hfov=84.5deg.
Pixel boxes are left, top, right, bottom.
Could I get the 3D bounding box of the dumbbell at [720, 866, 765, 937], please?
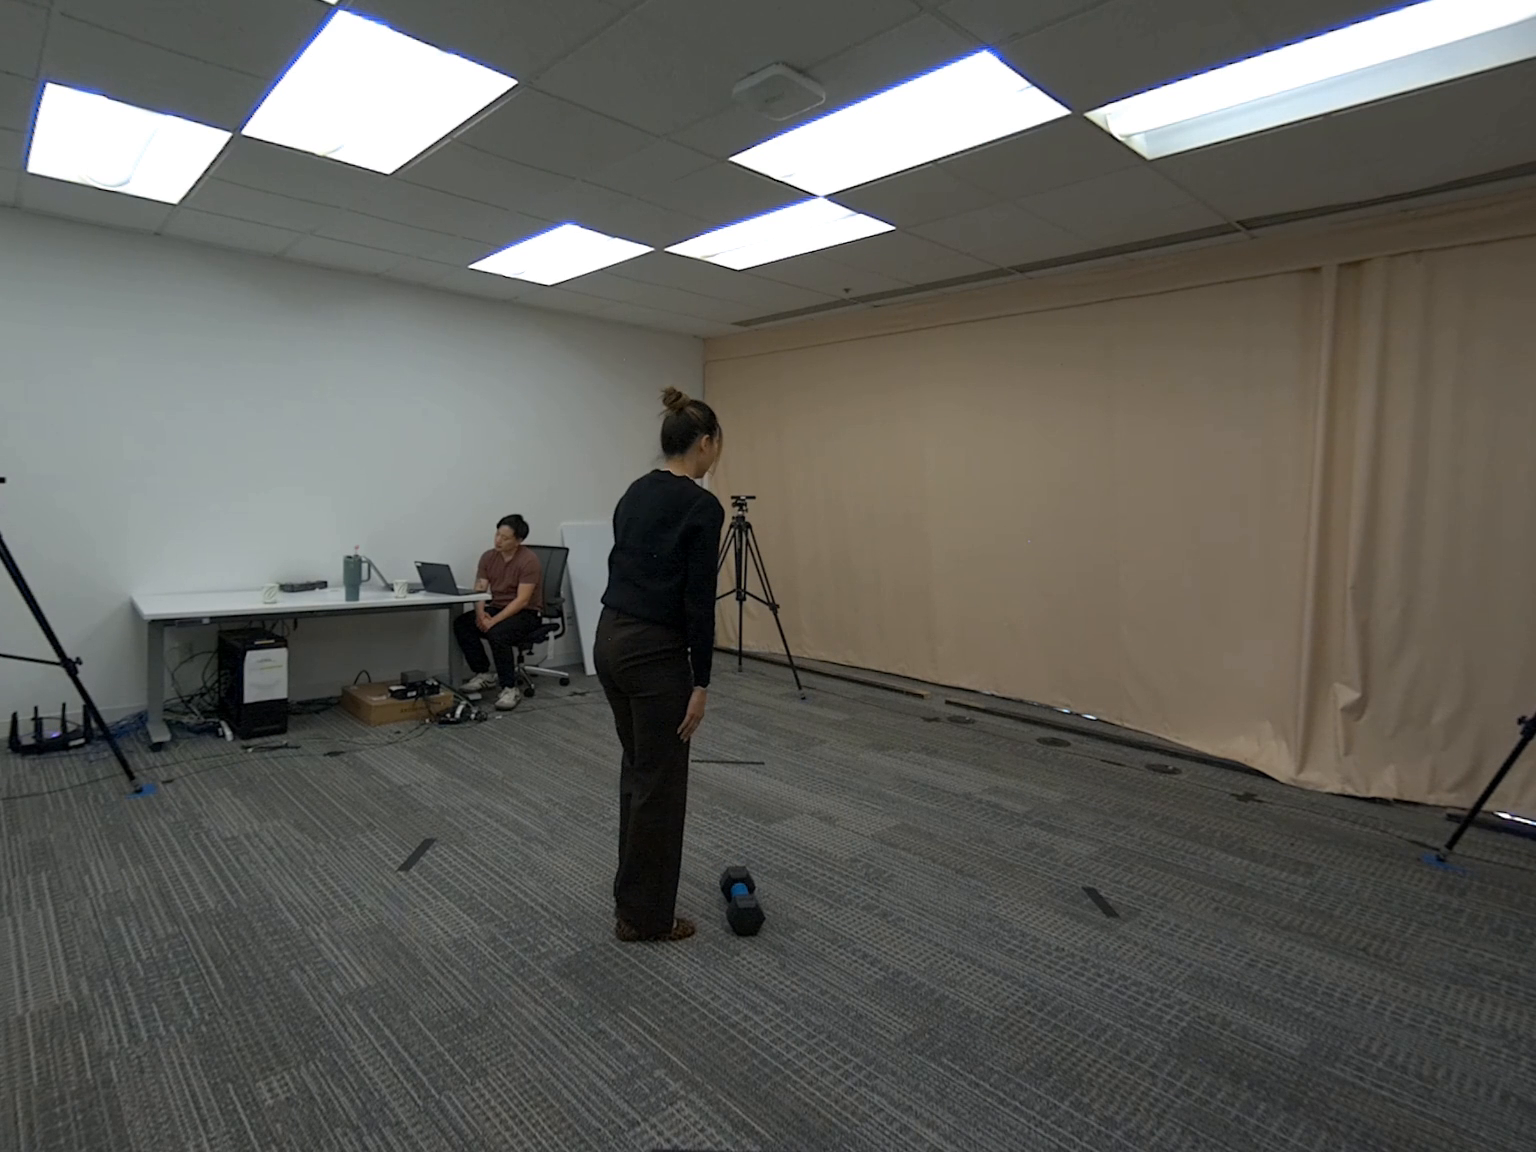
[{"bbox_3d":[-0.098,1.079,2.798,0.108,0.123,0.296,31,0,-10],"label":"dumbbell"}]
